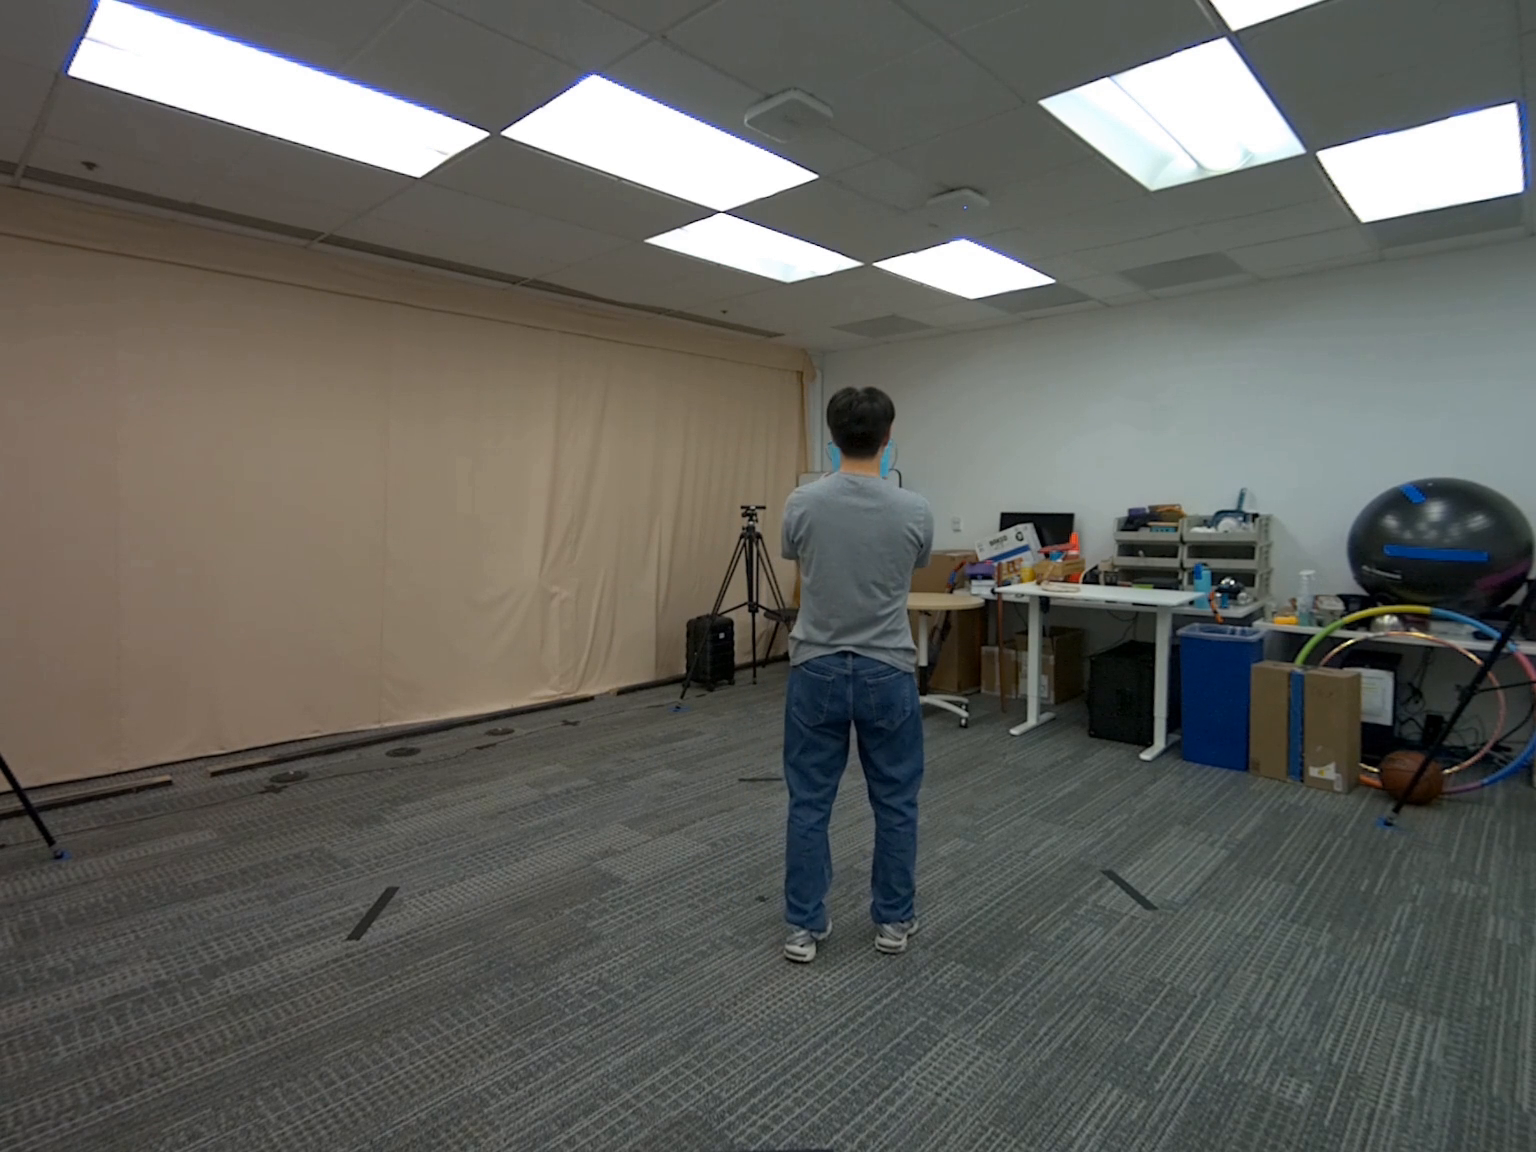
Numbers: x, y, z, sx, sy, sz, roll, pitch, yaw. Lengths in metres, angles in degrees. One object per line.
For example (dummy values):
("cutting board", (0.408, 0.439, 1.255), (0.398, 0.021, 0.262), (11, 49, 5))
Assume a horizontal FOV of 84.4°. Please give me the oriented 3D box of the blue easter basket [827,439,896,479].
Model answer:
("blue easter basket", (0.340, -0.400, 2.964), (0.243, 0.155, 0.244), (-2, 4, -2))
